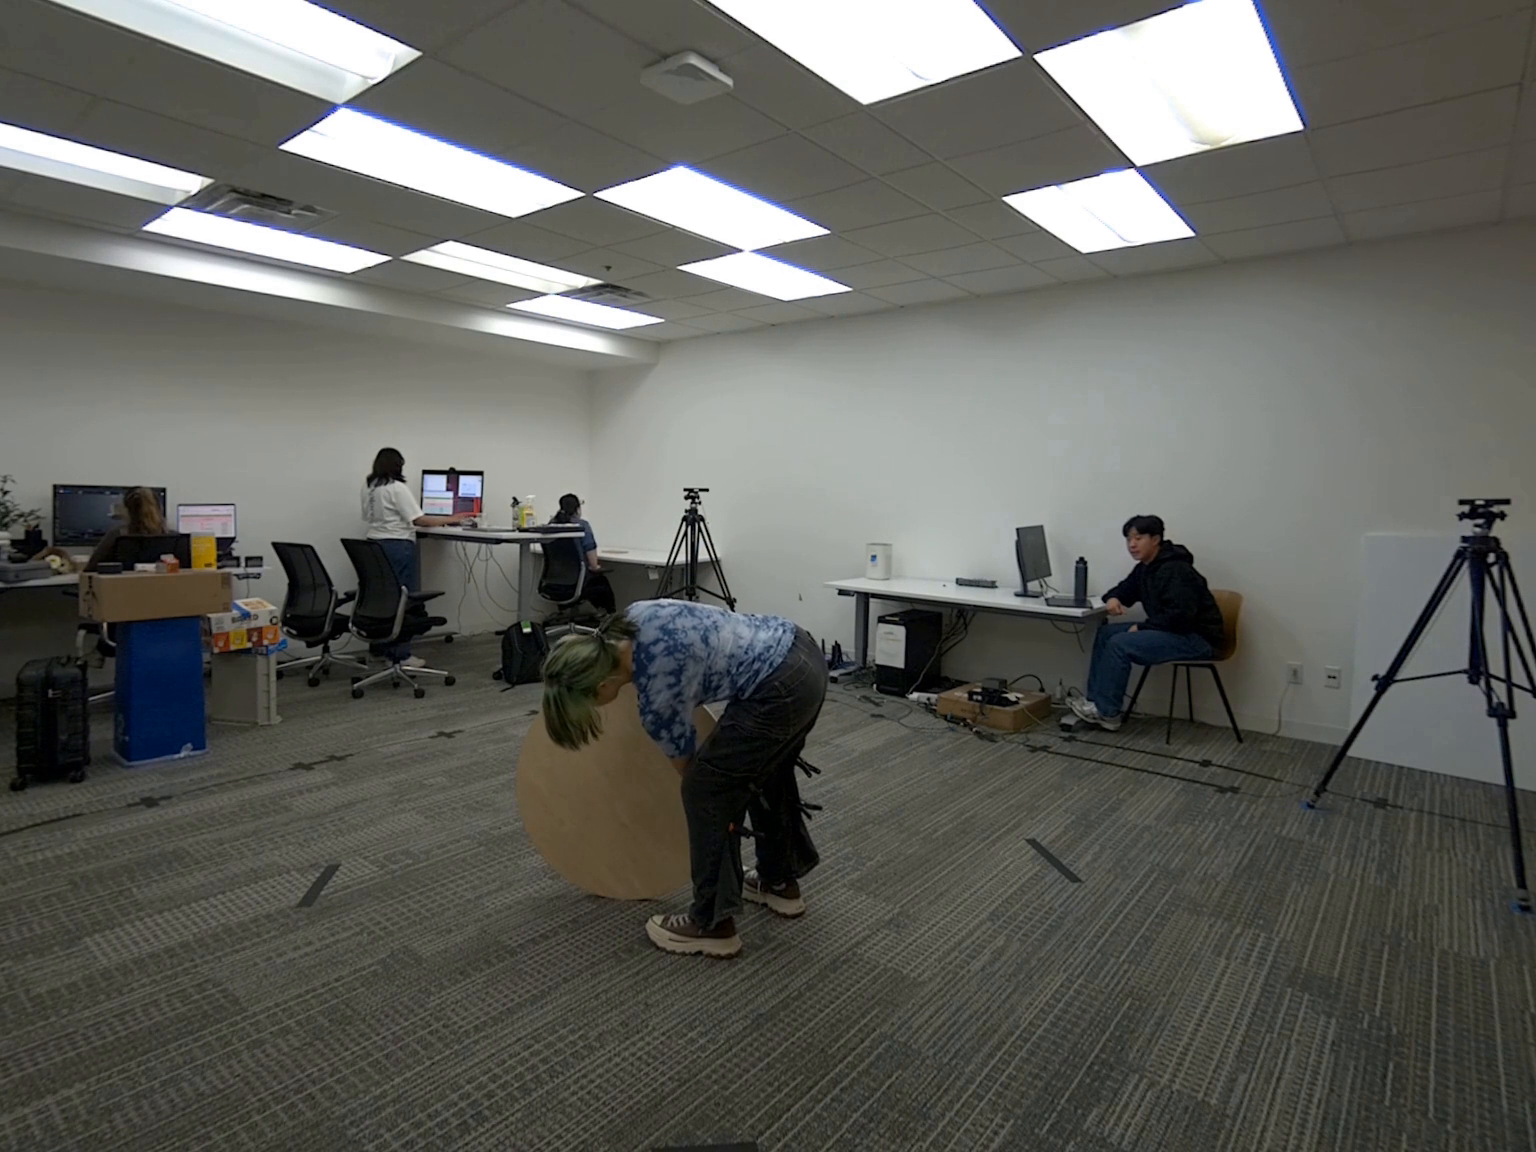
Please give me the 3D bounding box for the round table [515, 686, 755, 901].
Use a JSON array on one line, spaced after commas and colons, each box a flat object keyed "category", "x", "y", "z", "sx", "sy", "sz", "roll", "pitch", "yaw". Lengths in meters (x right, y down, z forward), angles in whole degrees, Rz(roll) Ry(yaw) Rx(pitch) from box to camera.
[{"category": "round table", "x": -0.478, "y": 0.698, "z": 3.261, "sx": 0.769, "sy": 0.764, "sz": 0.790, "roll": 1, "pitch": 1, "yaw": 5}]
